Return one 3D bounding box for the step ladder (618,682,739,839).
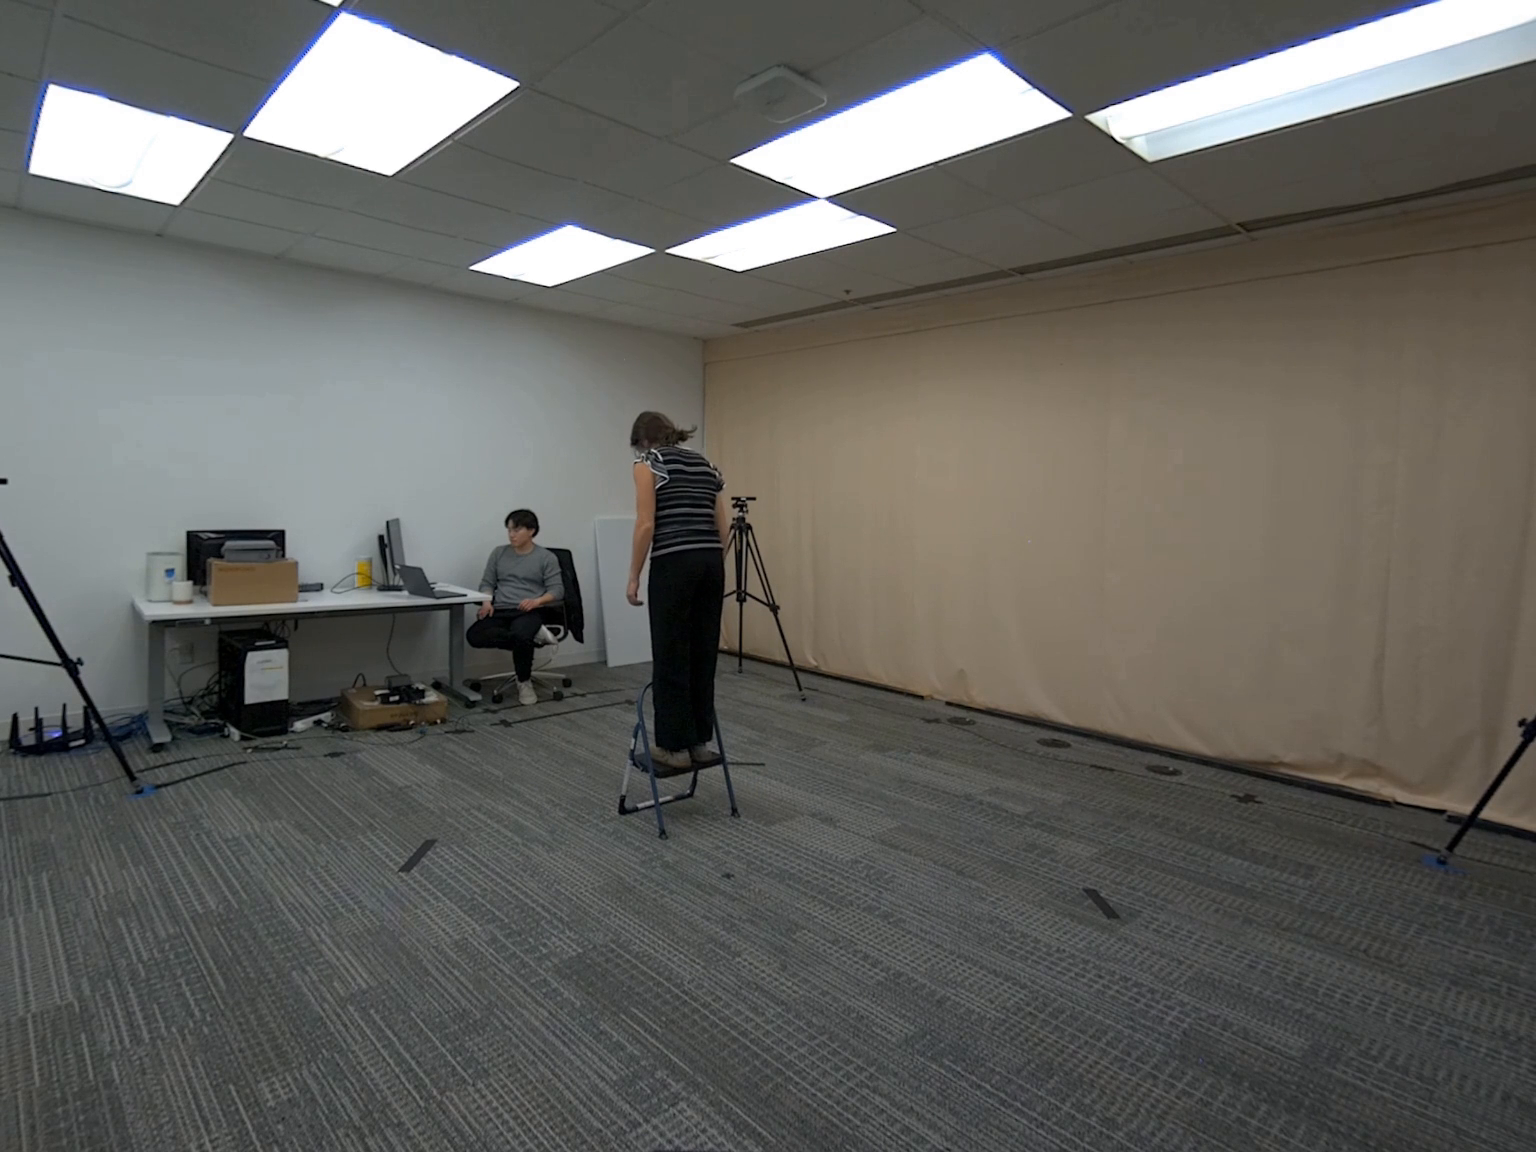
[{"bbox_3d":[-0.391,0.750,3.679,0.420,0.605,0.358,-1,4,-43],"label":"step ladder"}]
